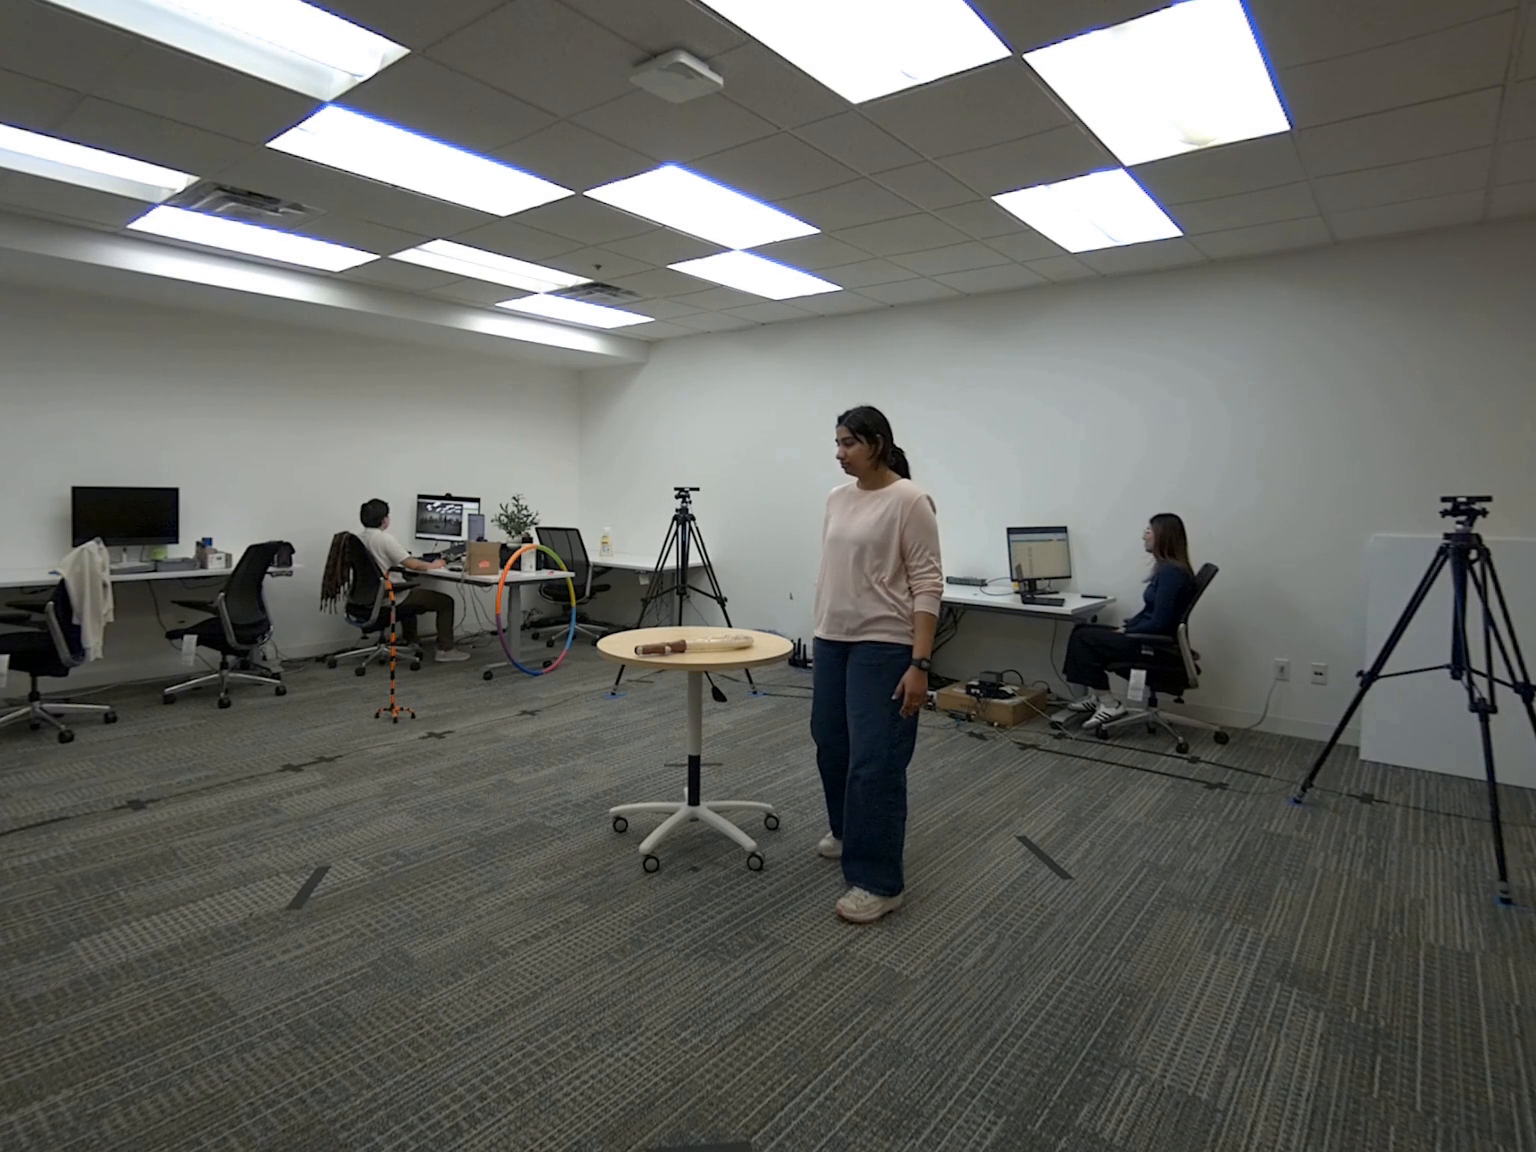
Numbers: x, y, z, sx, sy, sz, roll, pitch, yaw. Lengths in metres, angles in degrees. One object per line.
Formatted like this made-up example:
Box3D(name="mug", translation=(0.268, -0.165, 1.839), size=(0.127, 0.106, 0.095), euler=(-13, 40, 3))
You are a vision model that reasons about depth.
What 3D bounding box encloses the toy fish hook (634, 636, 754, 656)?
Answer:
Box3D(name="toy fish hook", translation=(-0.305, 0.257, 3.215), size=(0.493, 0.048, 0.231), euler=(-1, 2, -30))
